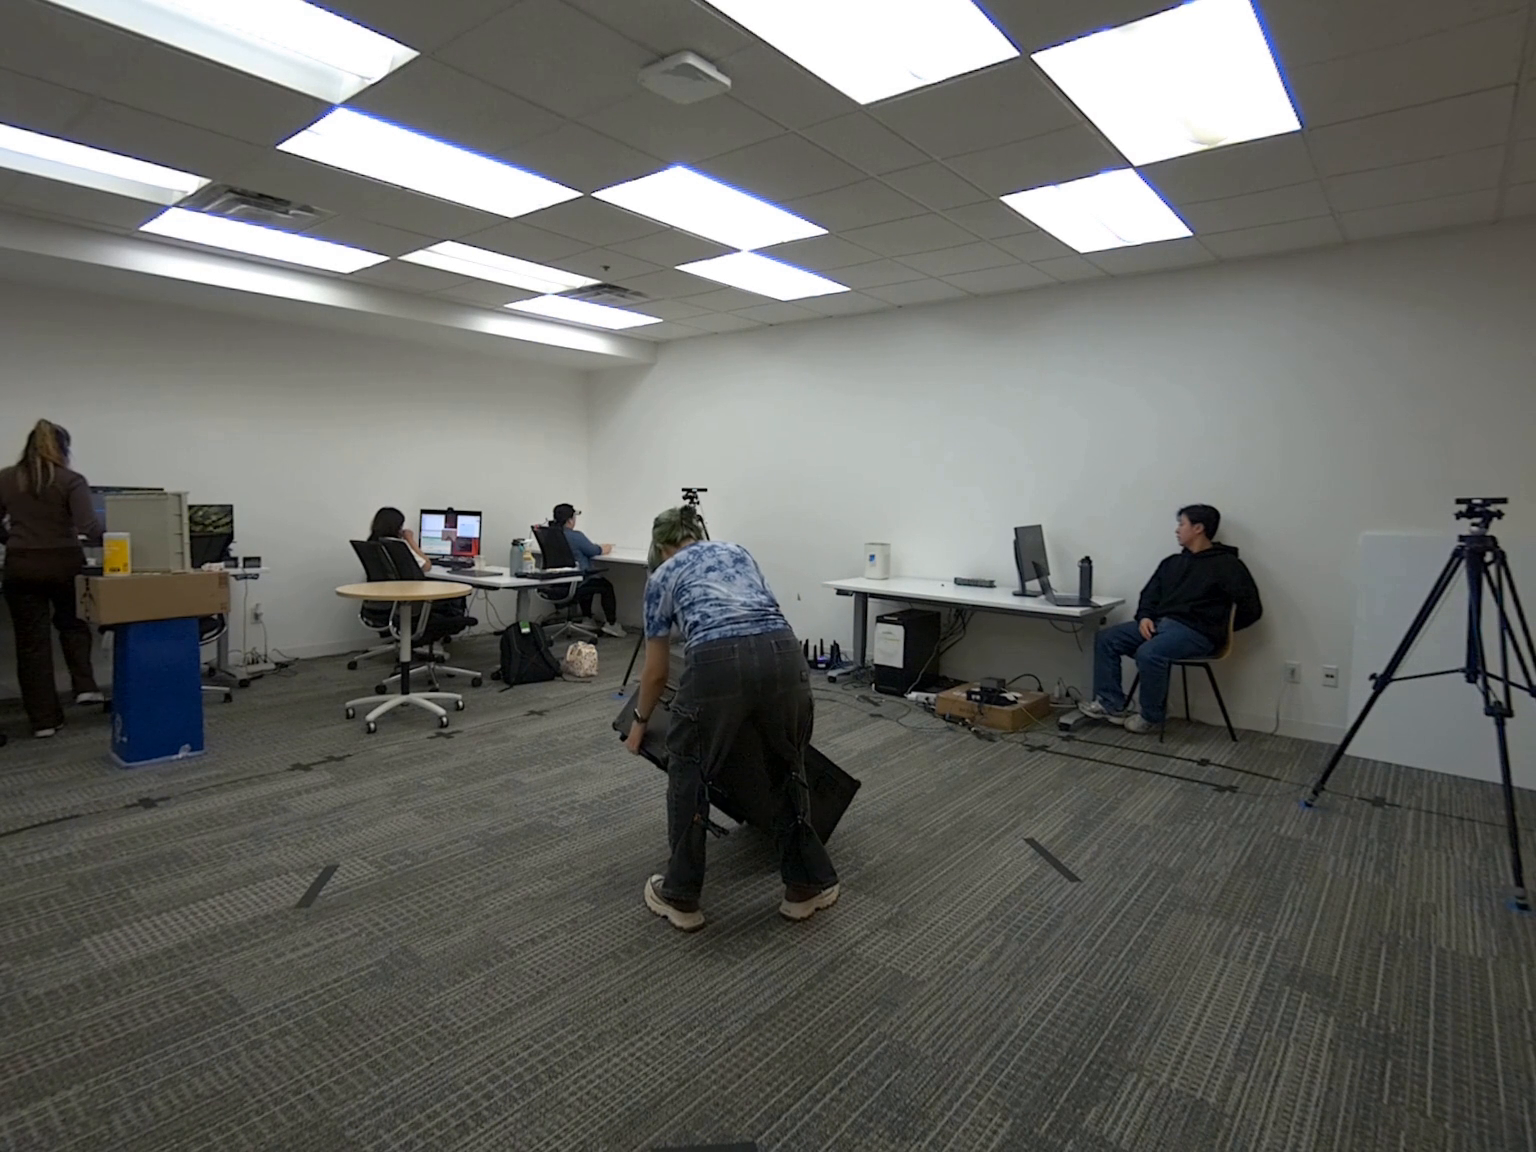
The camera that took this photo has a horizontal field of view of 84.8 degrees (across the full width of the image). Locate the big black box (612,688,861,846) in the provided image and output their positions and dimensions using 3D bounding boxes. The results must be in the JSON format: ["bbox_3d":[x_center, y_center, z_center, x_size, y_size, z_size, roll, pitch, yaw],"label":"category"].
[{"bbox_3d":[-0.113,0.702,3.256,0.835,0.397,0.536,39,-14,-24],"label":"big black box"}]
